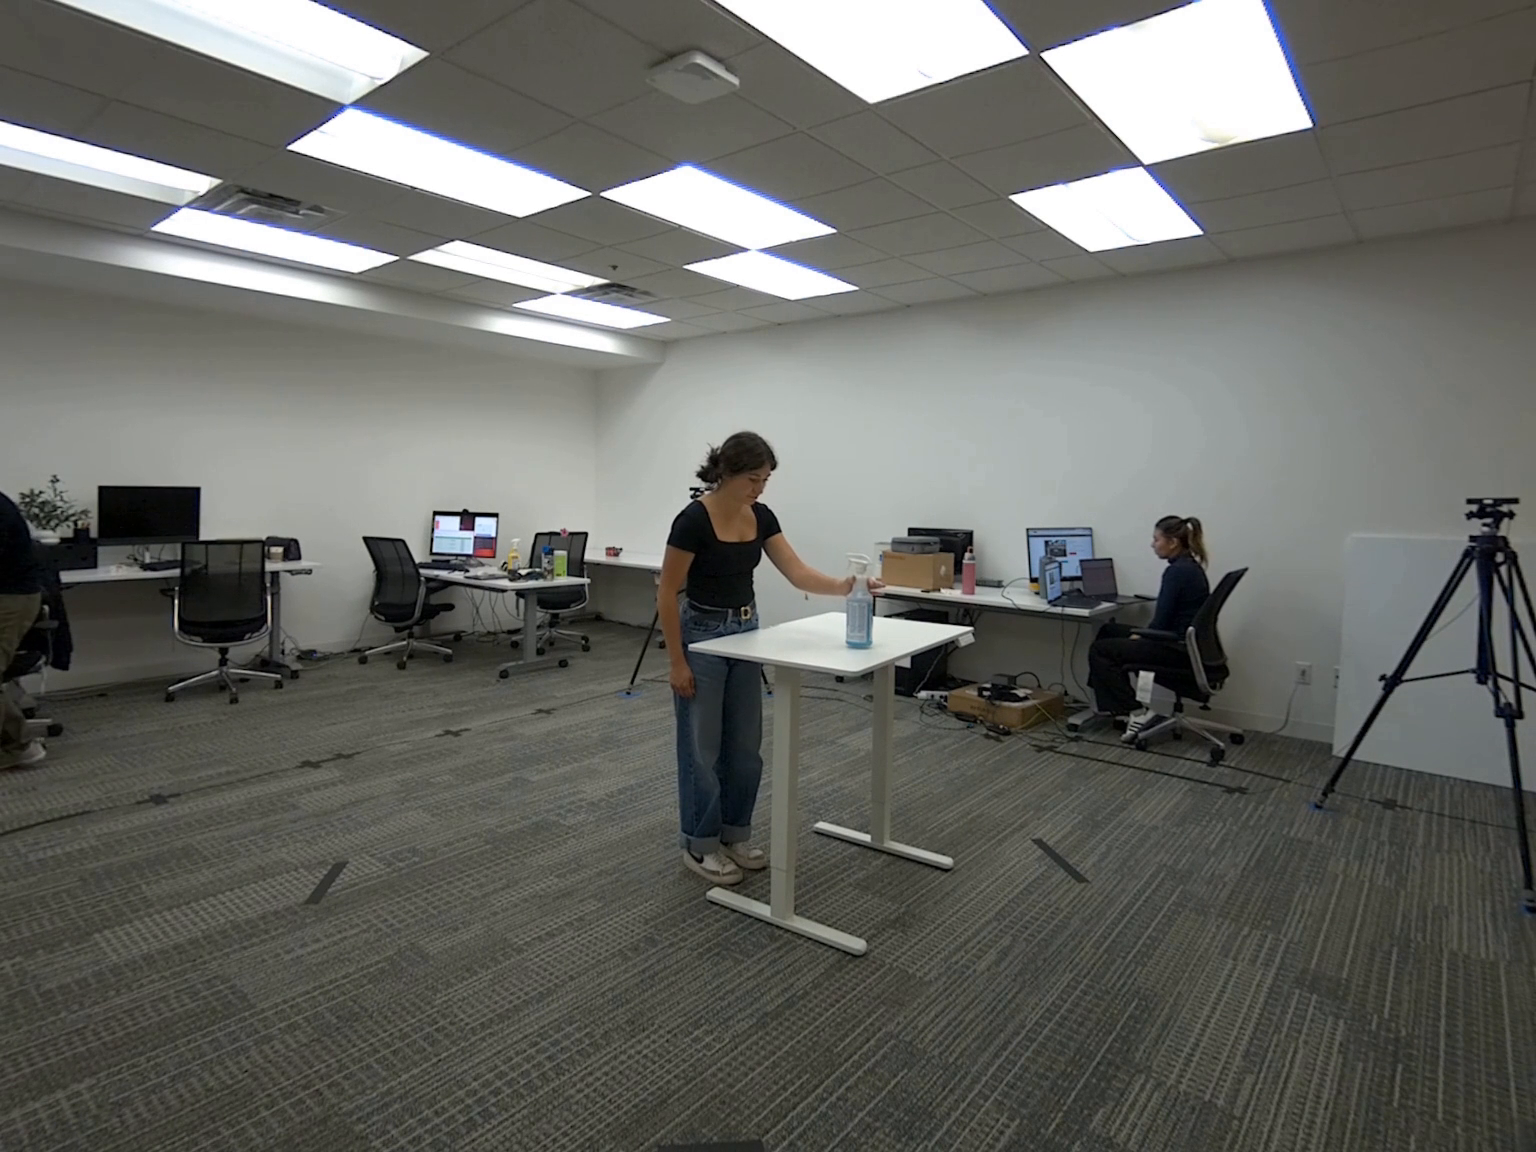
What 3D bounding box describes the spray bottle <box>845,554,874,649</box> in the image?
[{"bbox_3d":[0.291,0.077,2.758,0.084,0.297,0.093,-1,1,-36],"label":"spray bottle"}]
